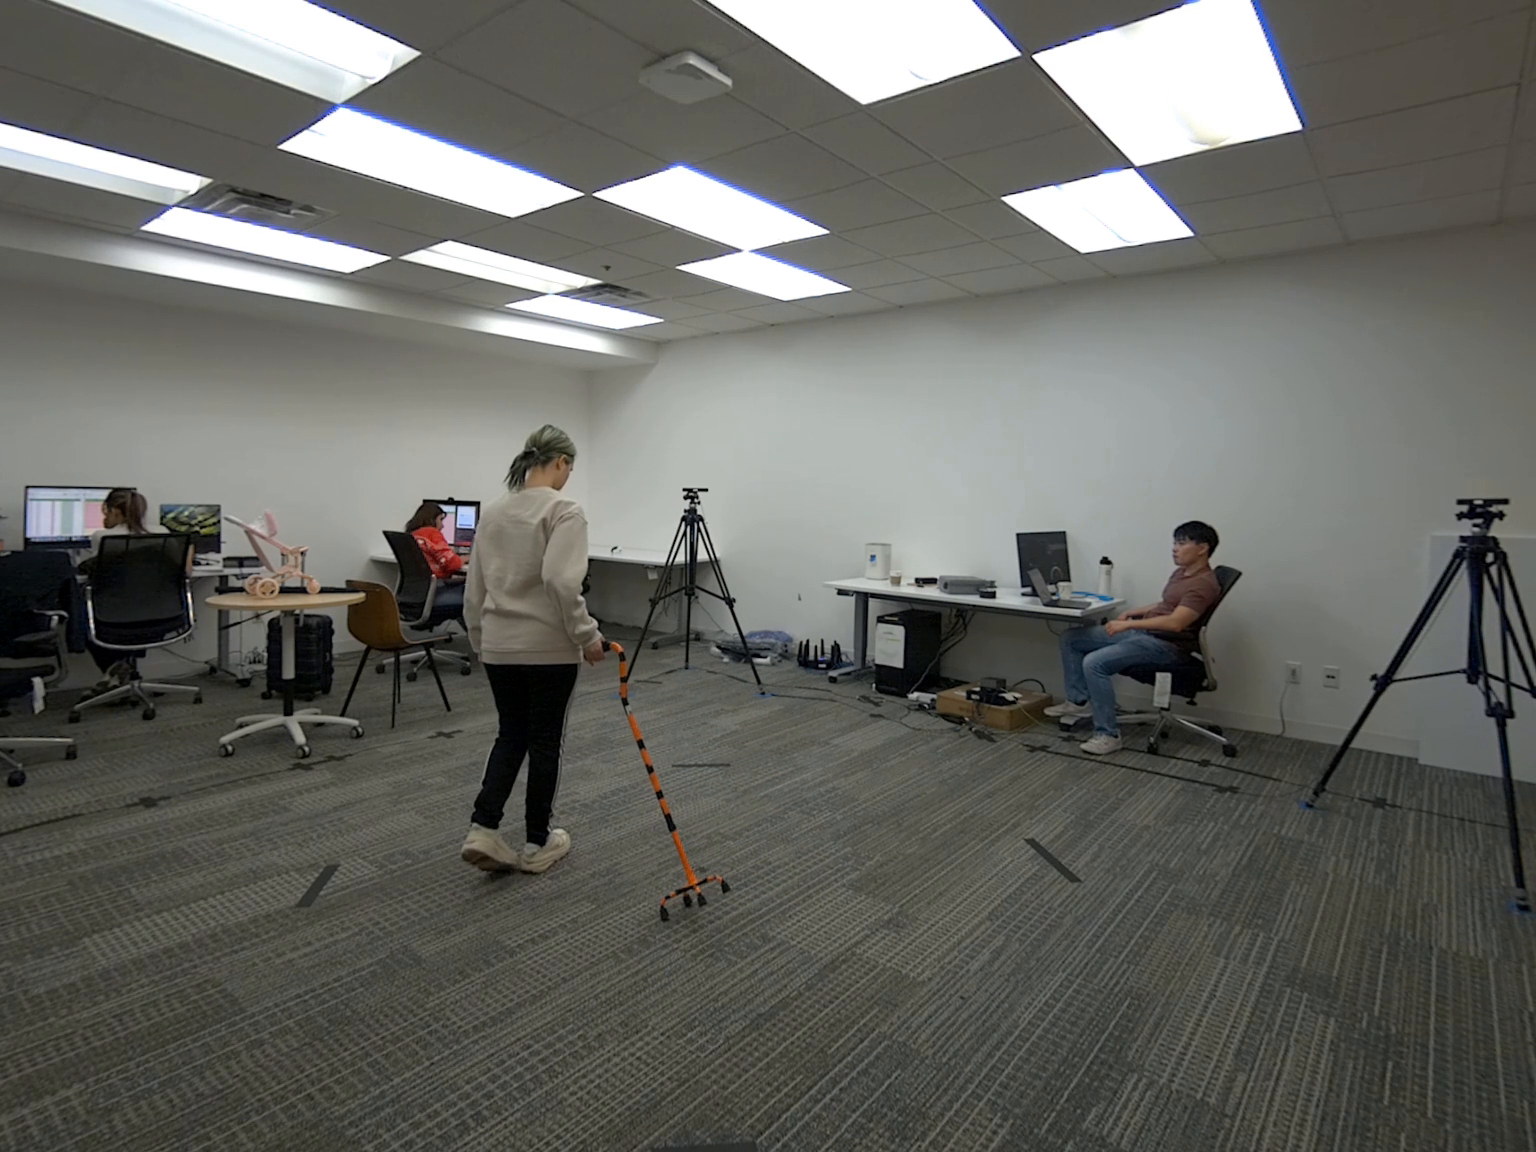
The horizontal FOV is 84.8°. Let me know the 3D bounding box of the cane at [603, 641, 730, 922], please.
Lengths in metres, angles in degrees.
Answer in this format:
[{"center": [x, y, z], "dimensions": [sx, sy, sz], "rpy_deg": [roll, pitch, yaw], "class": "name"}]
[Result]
[{"center": [-0.408, 0.648, 2.854], "dimensions": [0.209, 0.925, 0.147], "rpy_deg": [-32, -16, 32], "class": "cane"}]
